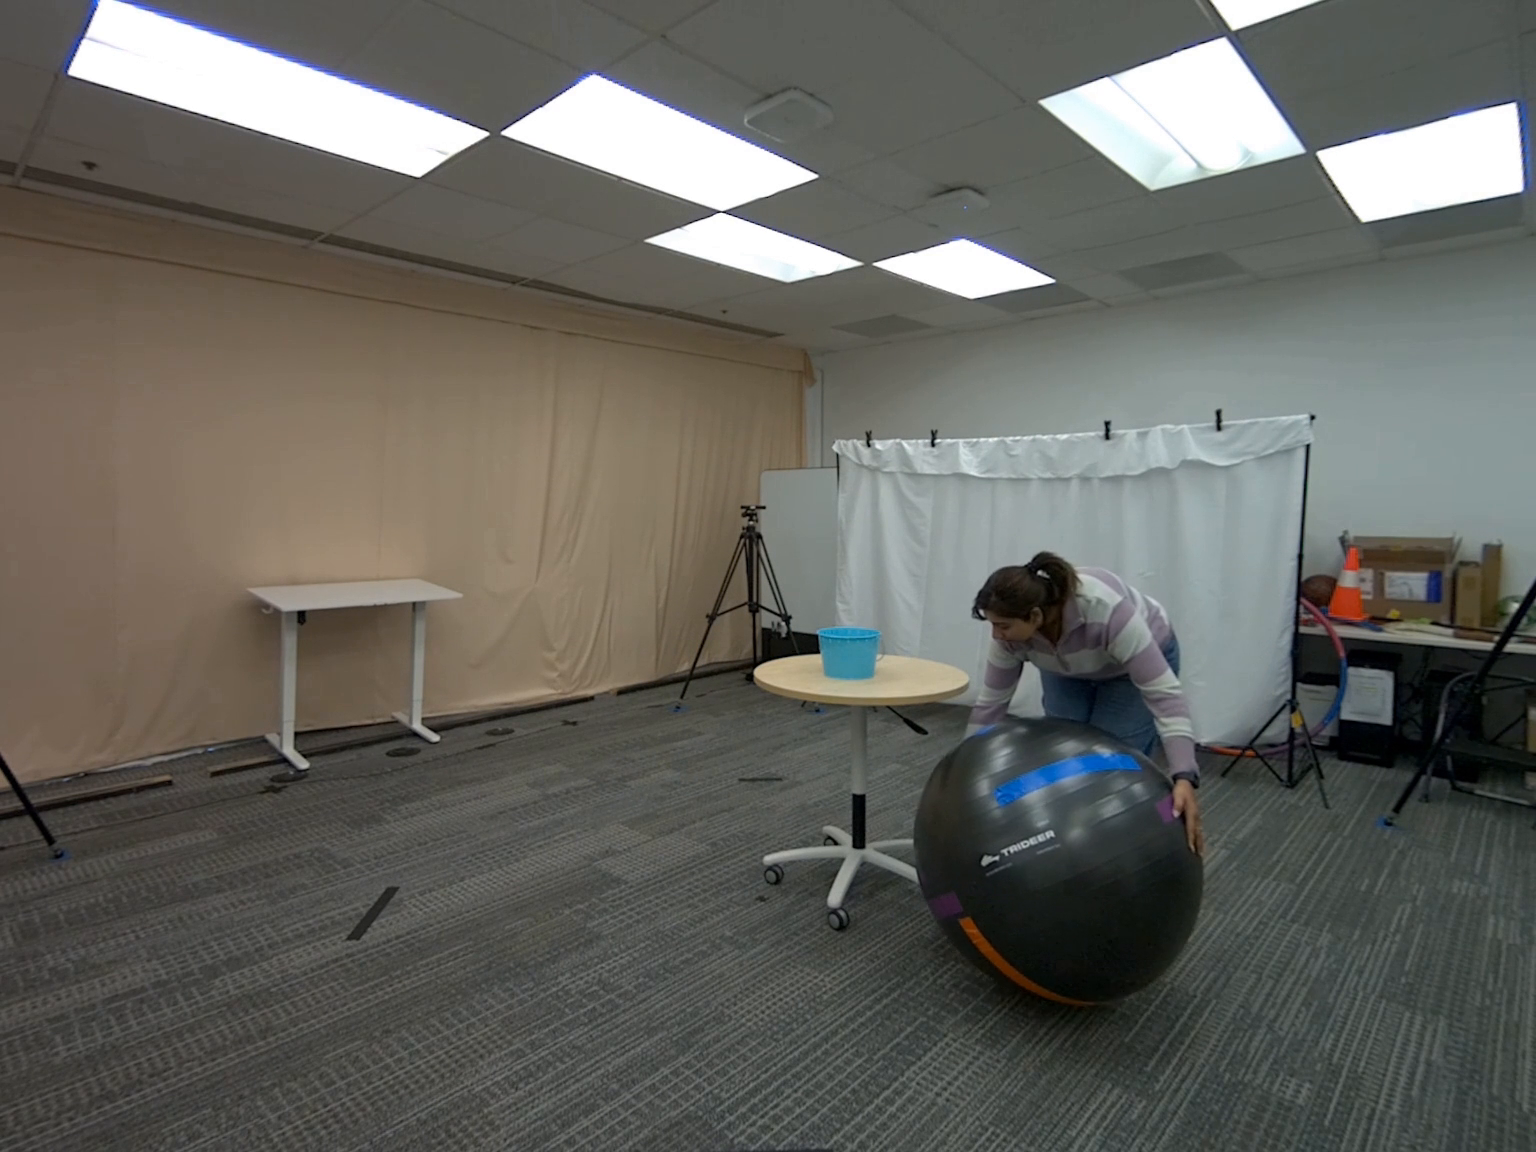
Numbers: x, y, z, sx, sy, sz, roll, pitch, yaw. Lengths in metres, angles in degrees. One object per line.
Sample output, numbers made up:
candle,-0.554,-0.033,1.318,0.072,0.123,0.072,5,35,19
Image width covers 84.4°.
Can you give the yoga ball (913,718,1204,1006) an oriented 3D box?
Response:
yoga ball,0.805,0.792,2.372,0.757,0.756,0.760,0,4,-2
